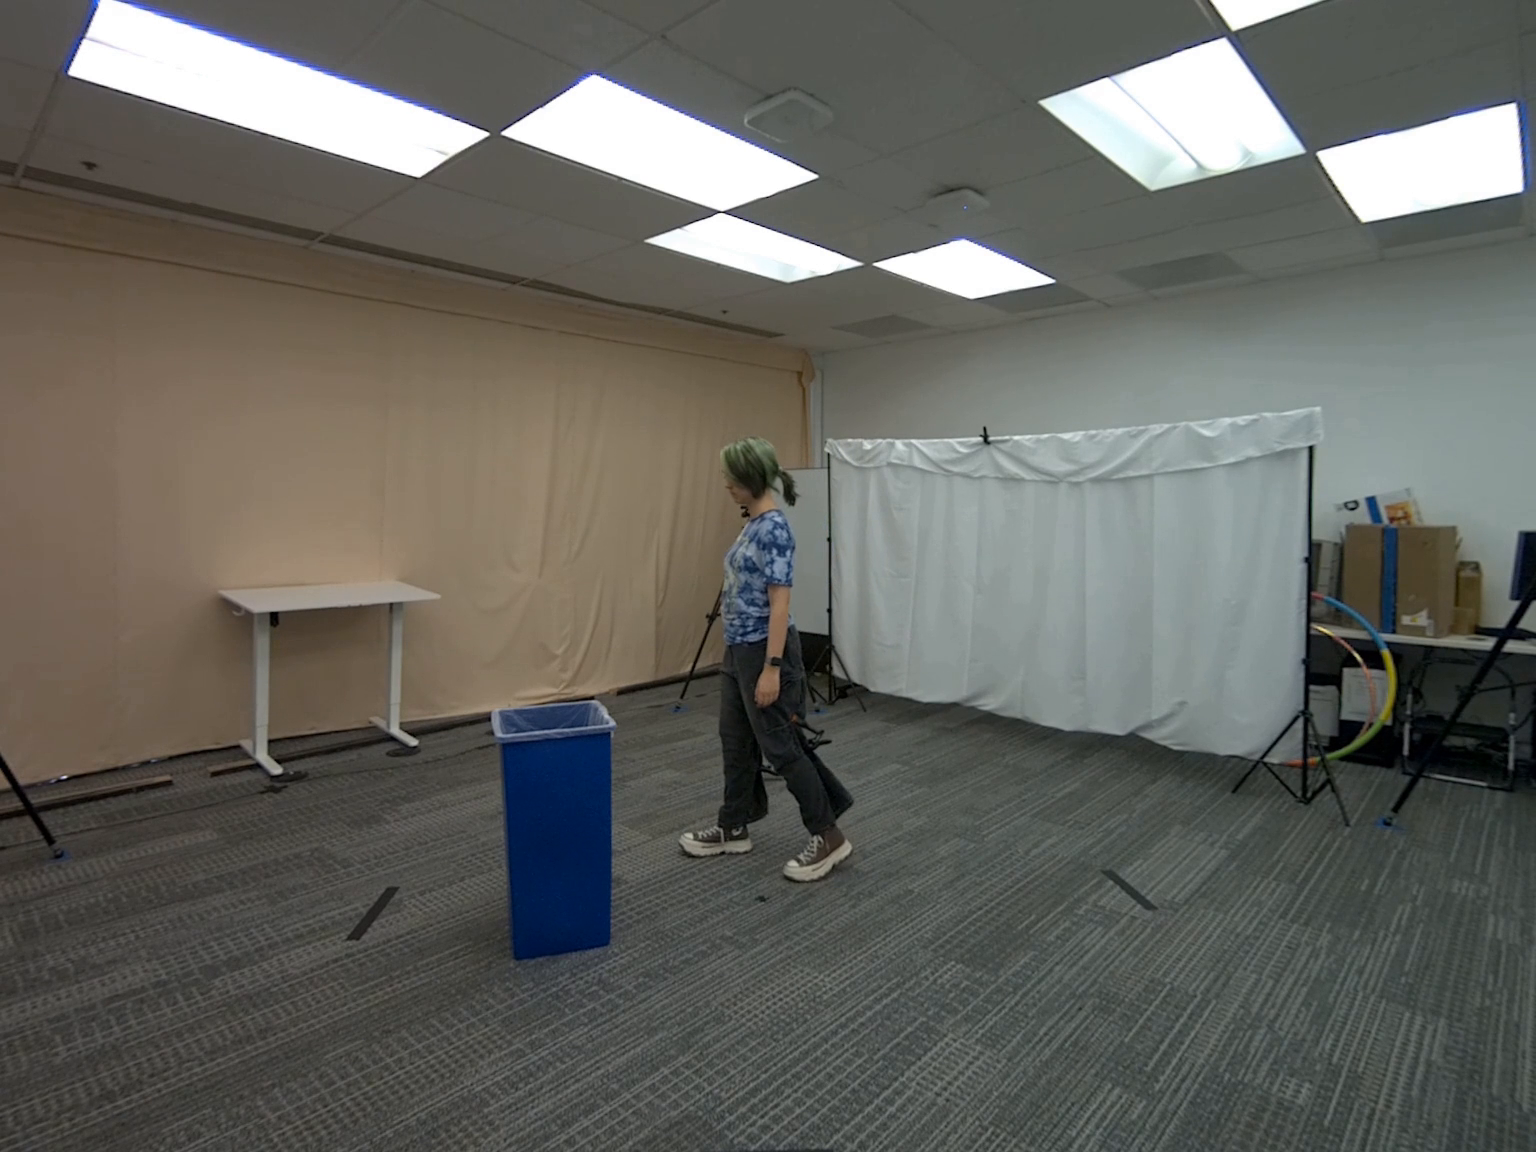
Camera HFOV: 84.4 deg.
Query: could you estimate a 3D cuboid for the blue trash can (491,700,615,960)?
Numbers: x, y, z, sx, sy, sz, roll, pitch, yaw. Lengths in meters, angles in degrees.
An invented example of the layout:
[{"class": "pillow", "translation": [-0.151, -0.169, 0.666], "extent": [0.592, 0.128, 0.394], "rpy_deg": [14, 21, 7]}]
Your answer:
[{"class": "blue trash can", "translation": [-0.702, 0.815, 2.745], "extent": [0.367, 0.712, 0.386], "rpy_deg": [-2, 3, -19]}]
